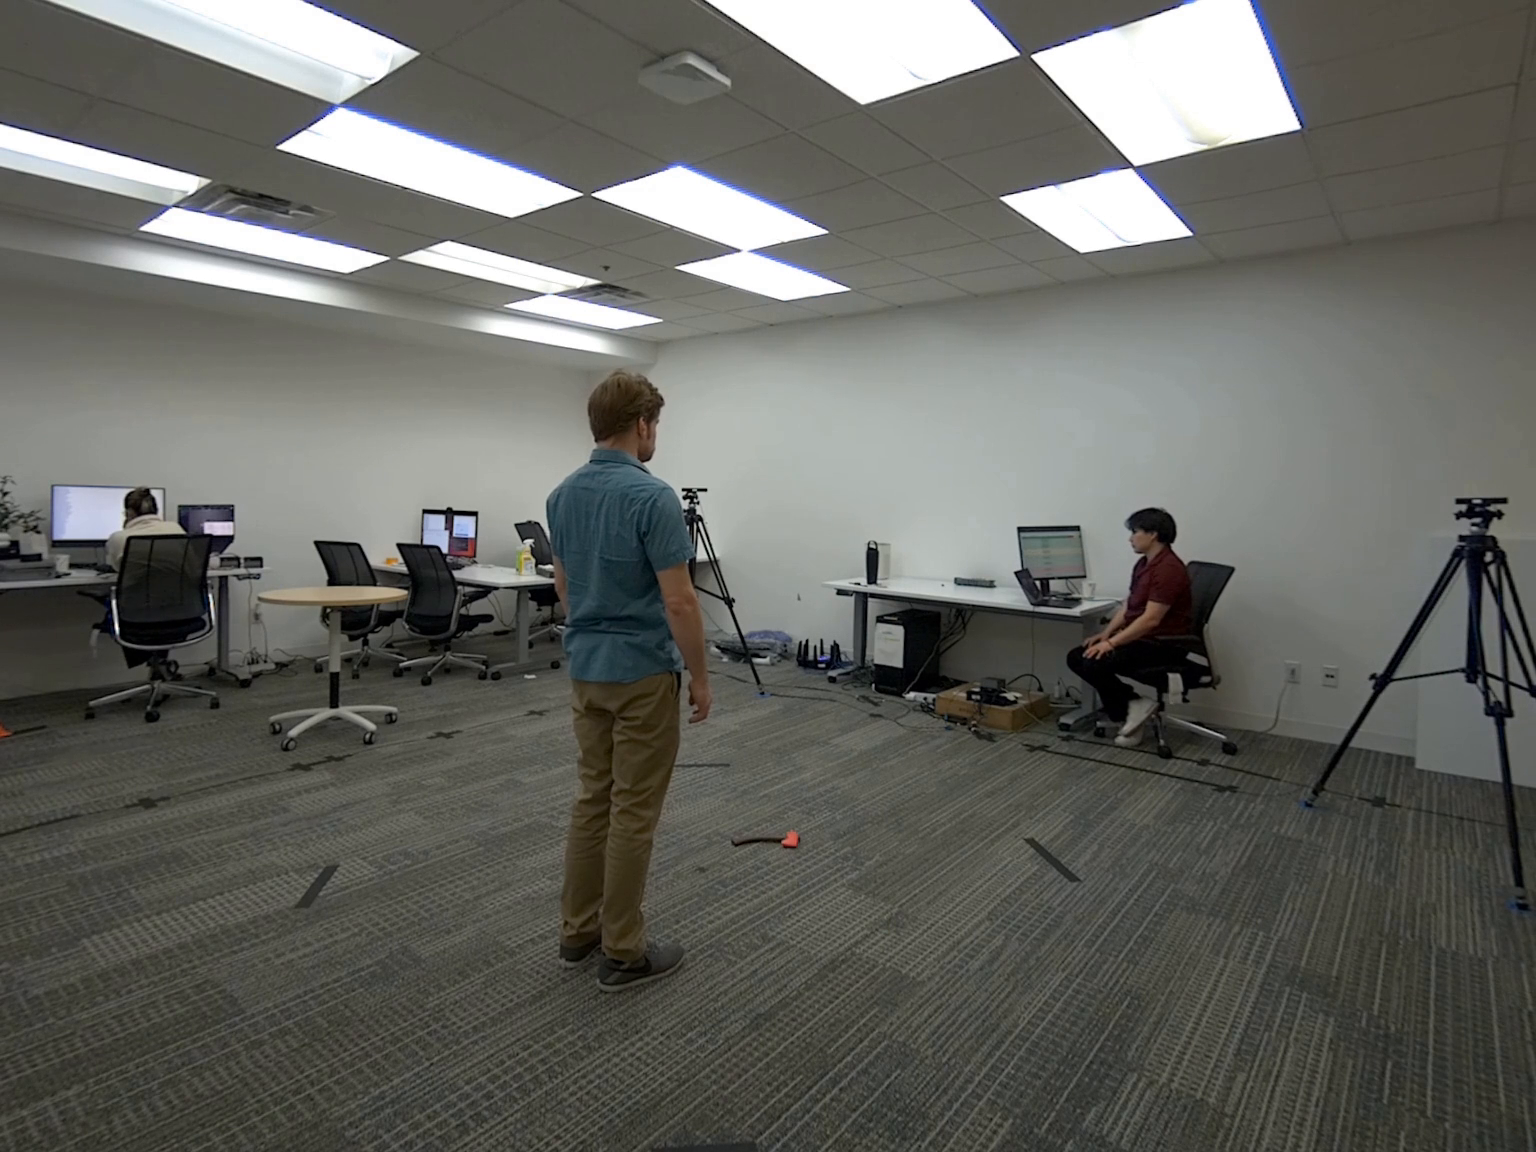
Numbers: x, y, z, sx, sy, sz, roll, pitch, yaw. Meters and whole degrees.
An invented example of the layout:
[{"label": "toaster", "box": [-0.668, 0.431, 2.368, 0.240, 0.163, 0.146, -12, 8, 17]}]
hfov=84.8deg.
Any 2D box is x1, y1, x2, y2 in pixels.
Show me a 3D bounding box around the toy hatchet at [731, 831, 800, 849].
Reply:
[{"label": "toy hatchet", "box": [-0.008, 1.042, 3.329, 0.264, 0.029, 0.135, -4, 9, -22]}]
